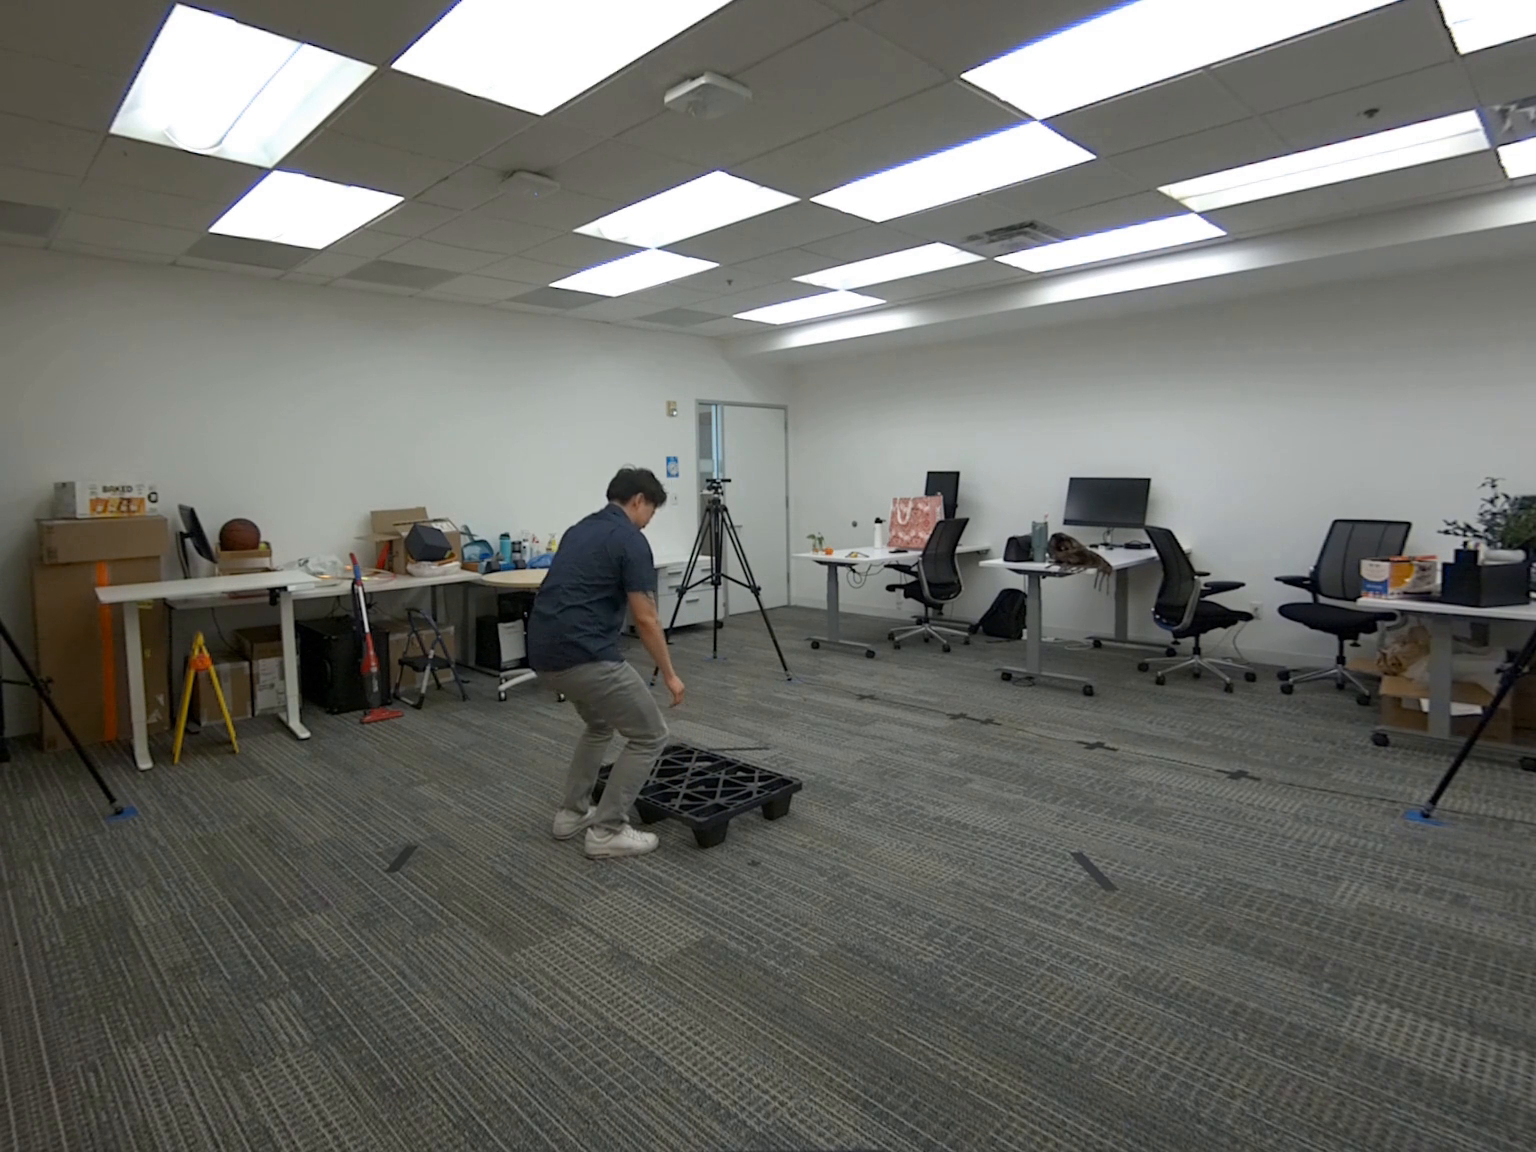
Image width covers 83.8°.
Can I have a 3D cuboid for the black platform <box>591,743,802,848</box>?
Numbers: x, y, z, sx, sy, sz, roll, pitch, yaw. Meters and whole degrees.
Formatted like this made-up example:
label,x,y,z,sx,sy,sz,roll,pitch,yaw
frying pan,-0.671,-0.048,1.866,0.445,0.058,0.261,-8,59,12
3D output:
label,x,y,z,sx,sy,sz,roll,pitch,yaw
black platform,-0.336,0.922,3.657,0.830,0.143,0.589,5,8,44
